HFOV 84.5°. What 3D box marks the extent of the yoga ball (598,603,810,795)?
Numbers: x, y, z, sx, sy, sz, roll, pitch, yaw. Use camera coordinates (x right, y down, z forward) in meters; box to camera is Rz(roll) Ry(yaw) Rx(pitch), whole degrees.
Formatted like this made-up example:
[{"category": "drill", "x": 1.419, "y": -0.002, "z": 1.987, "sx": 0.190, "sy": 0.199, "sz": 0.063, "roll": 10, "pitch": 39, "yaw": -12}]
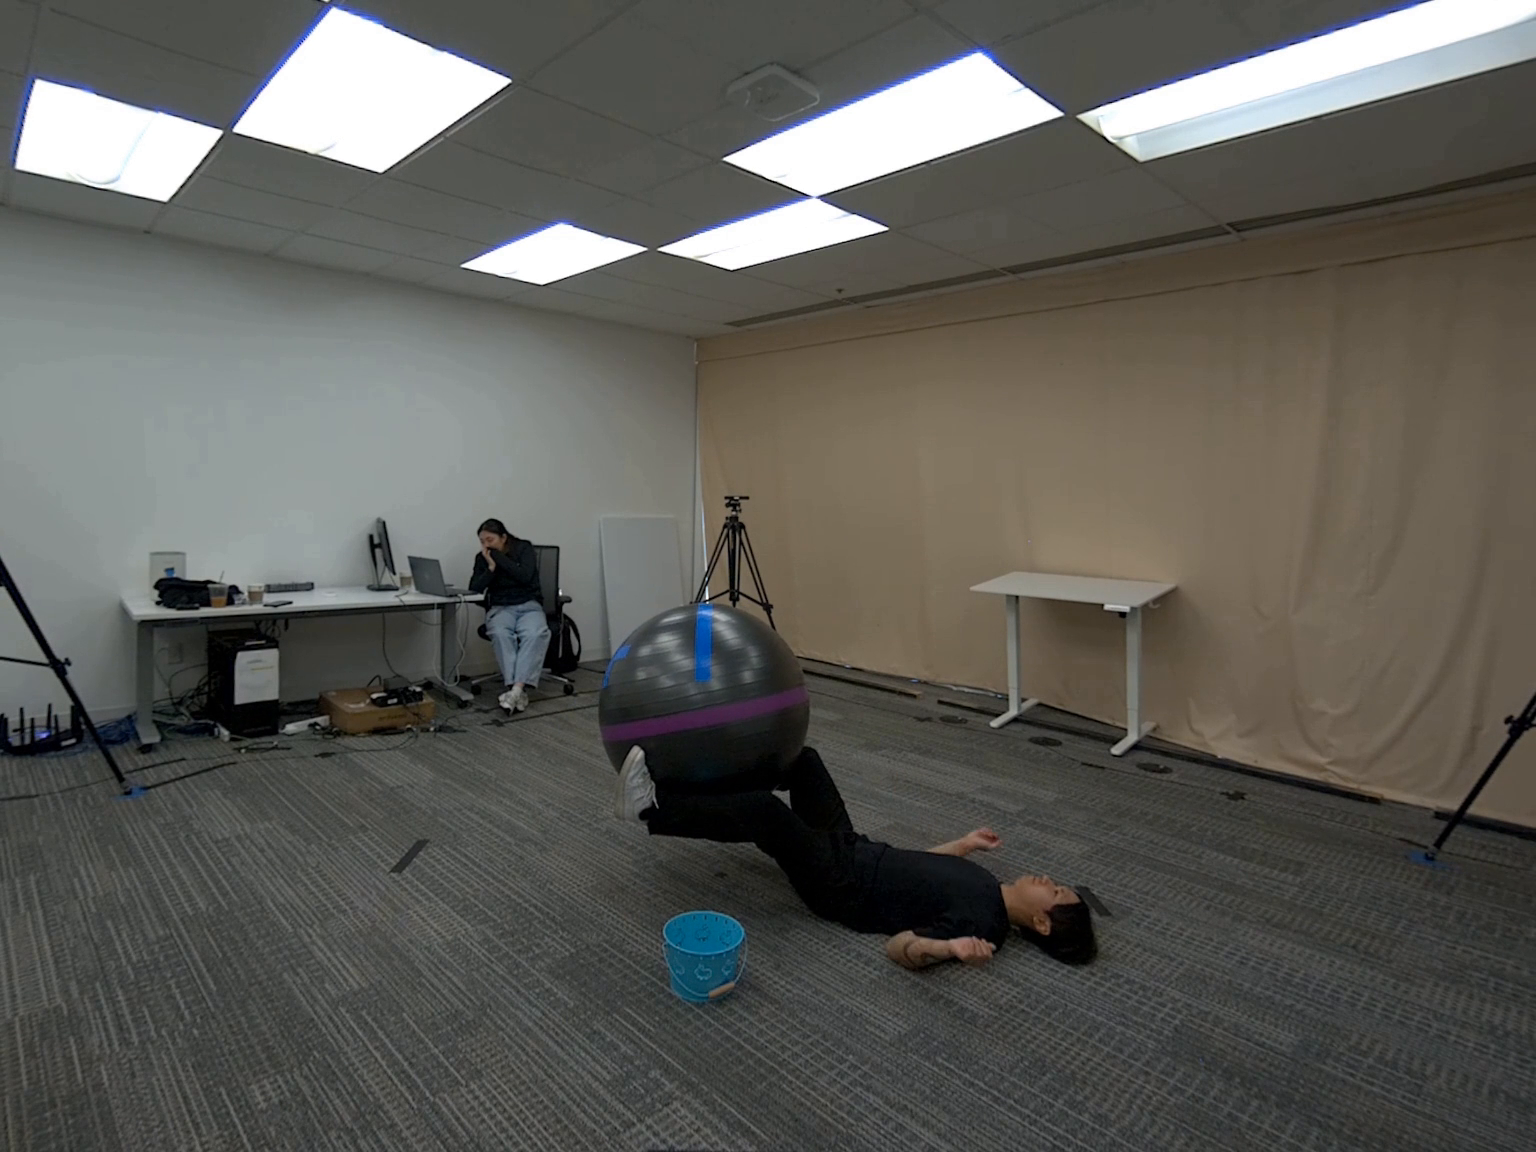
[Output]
[{"category": "yoga ball", "x": -0.233, "y": 0.484, "z": 3.054, "sx": 0.757, "sy": 0.756, "sz": 0.761, "roll": 1, "pitch": 4, "yaw": -1}]
